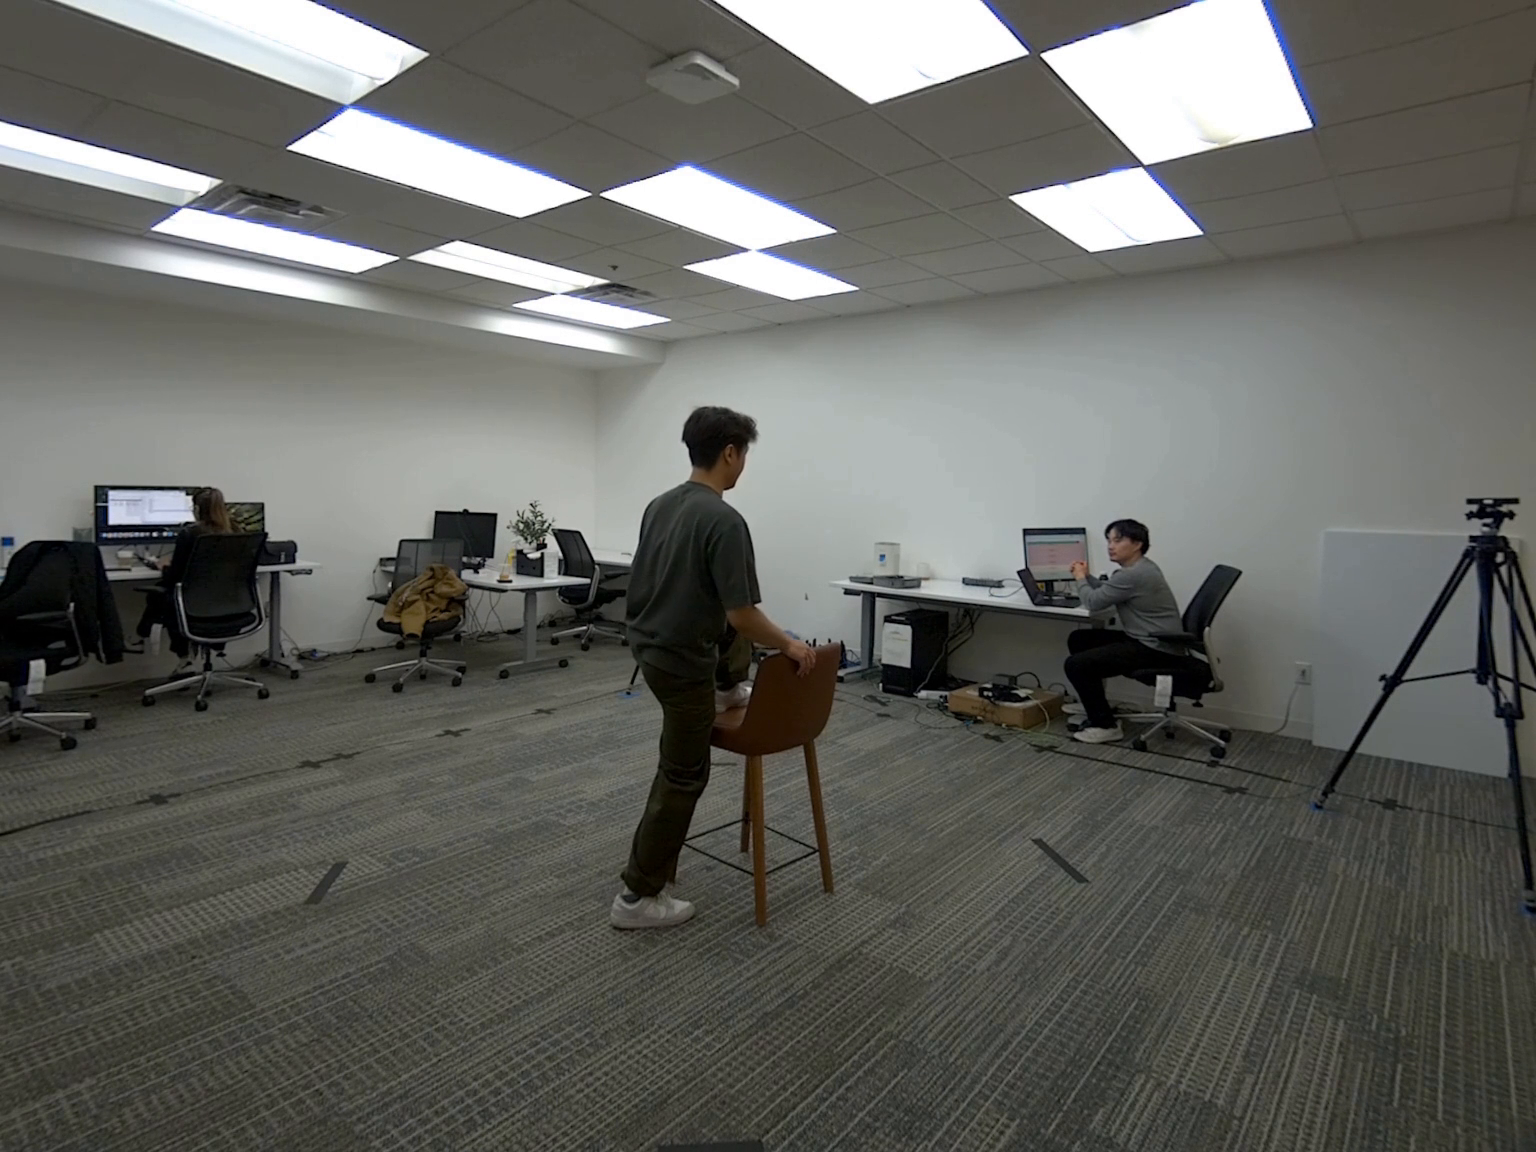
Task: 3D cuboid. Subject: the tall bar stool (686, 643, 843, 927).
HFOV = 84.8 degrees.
[{"bbox_3d":[-0.048,0.648,2.962,0.484,0.886,0.442,7,6,44],"label":"tall bar stool"}]
